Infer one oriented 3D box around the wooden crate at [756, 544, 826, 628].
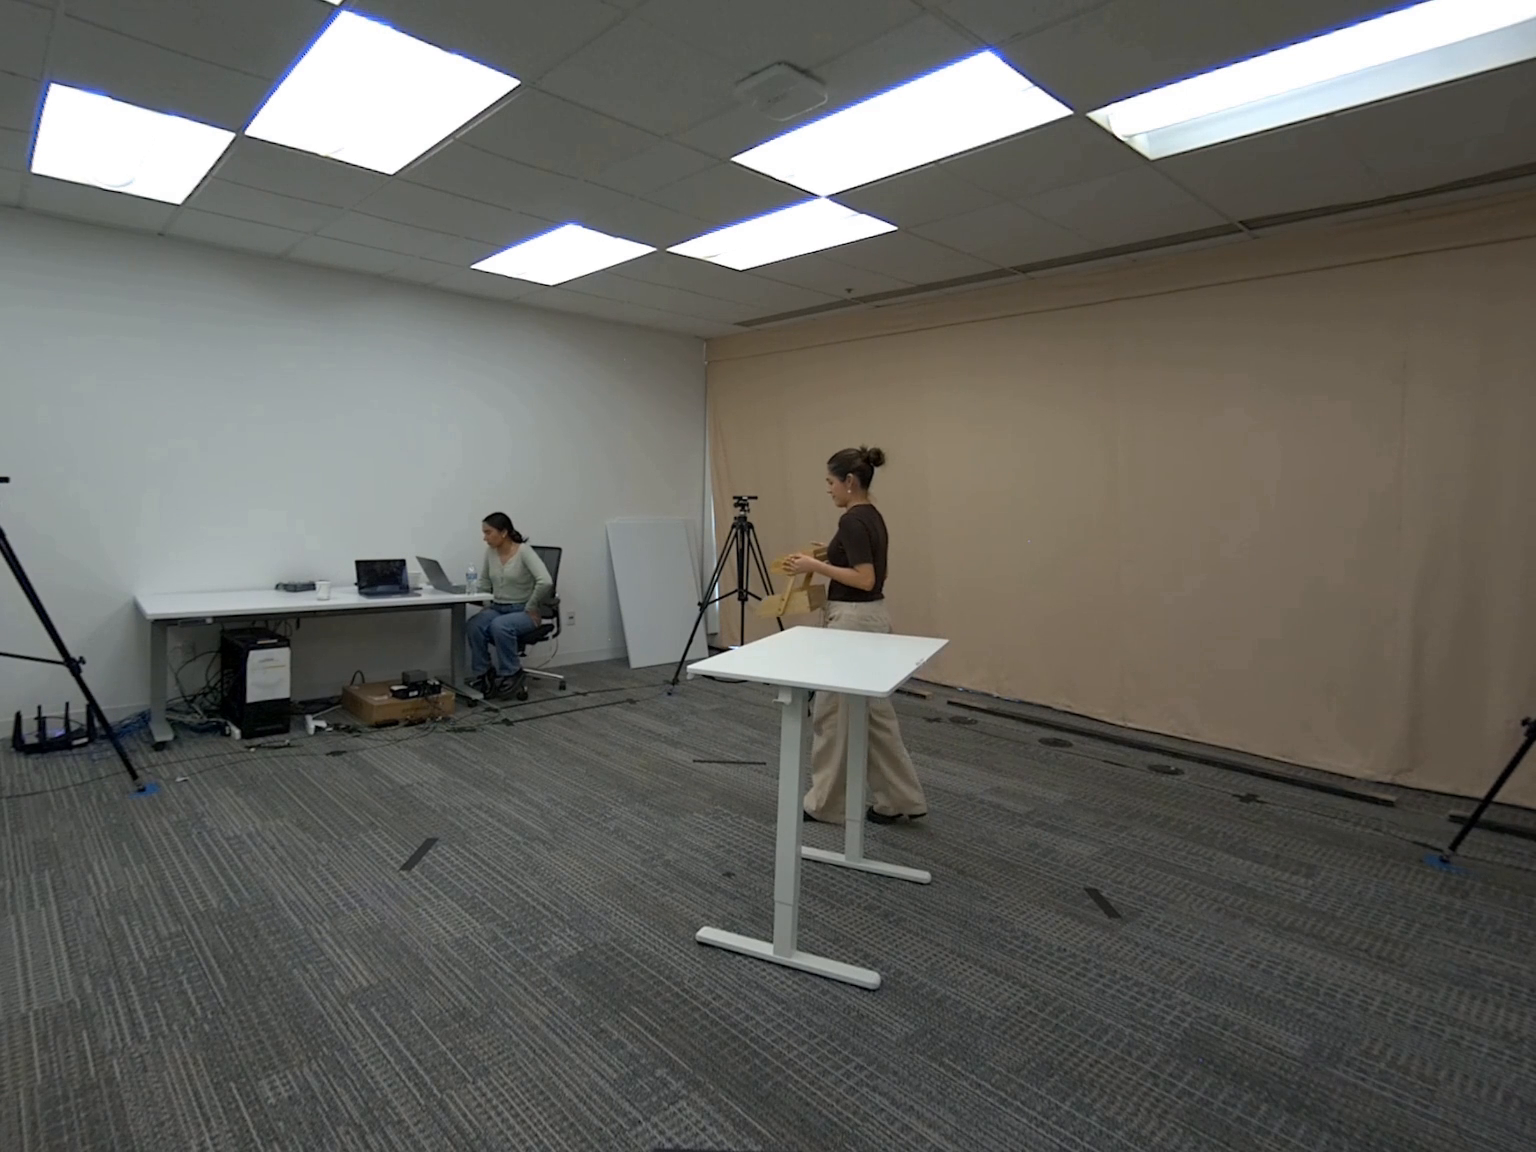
[{"bbox_3d":[0.099,0.020,3.696,0.306,0.273,0.321,-8,1,17],"label":"wooden crate"}]
